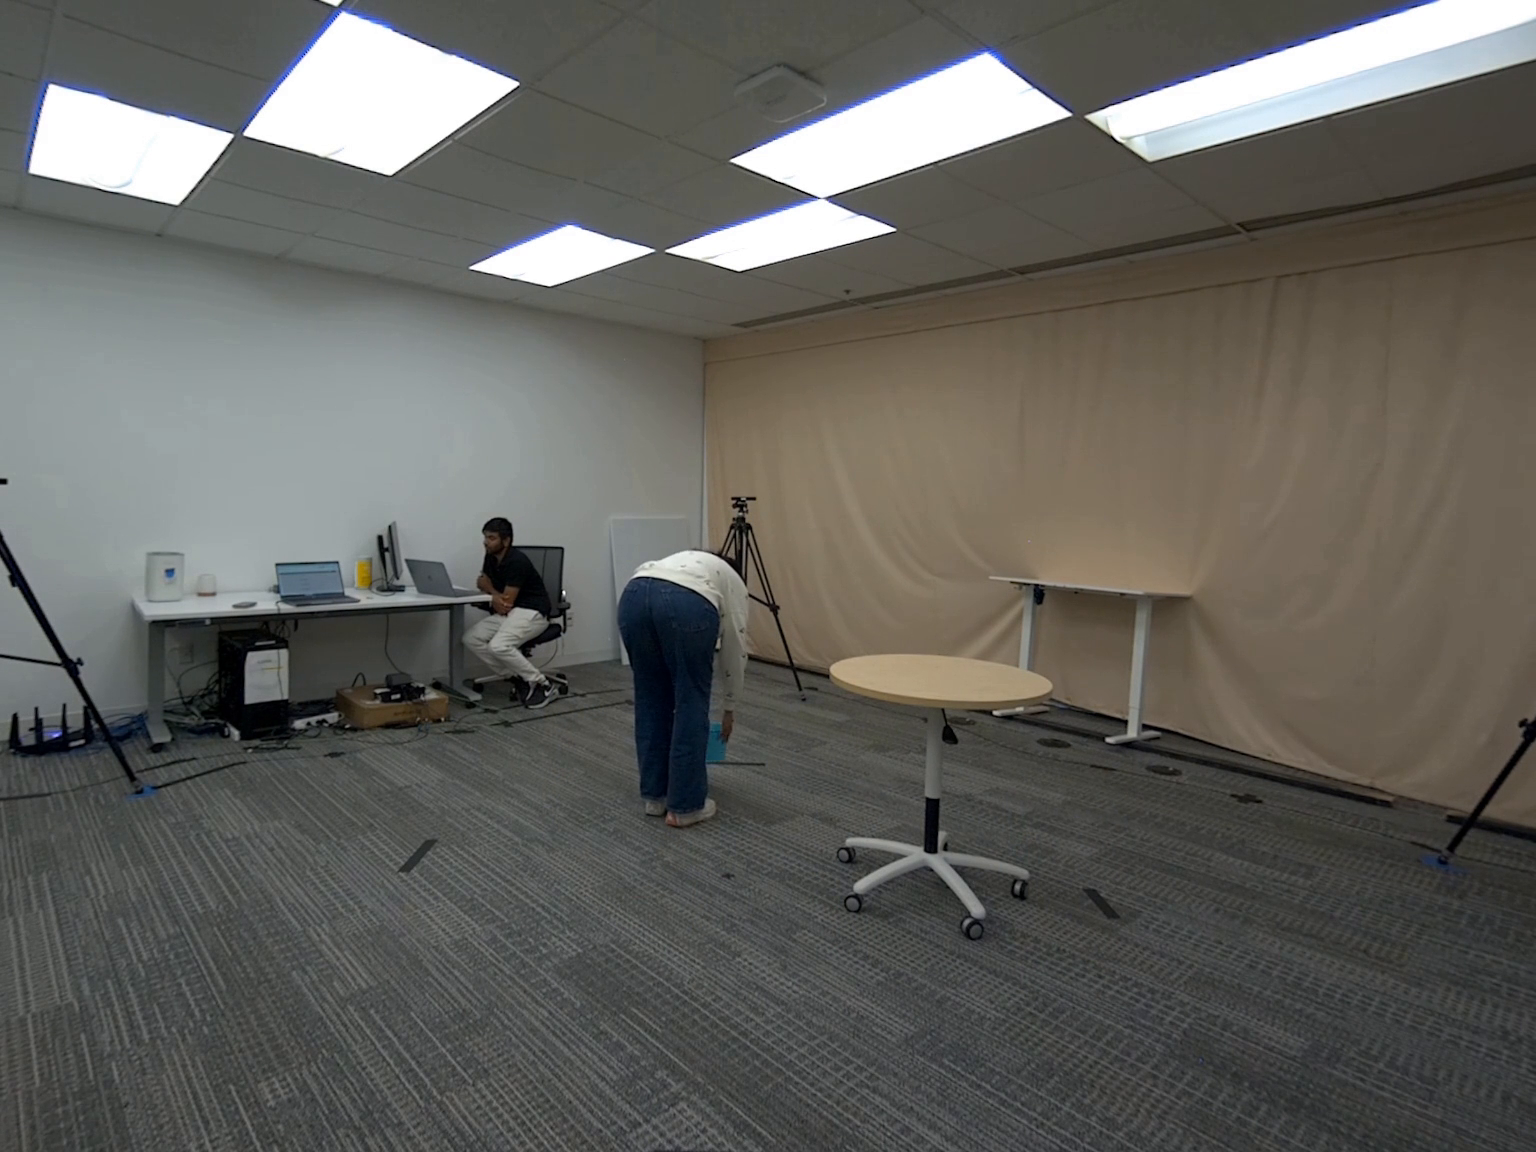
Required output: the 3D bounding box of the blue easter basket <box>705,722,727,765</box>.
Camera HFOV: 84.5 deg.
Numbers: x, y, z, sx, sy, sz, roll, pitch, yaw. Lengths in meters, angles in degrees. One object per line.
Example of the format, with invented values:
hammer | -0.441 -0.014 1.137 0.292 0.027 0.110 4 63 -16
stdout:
blue easter basket | -0.307 0.795 4.052 0.243 0.156 0.243 2 -1 -1
